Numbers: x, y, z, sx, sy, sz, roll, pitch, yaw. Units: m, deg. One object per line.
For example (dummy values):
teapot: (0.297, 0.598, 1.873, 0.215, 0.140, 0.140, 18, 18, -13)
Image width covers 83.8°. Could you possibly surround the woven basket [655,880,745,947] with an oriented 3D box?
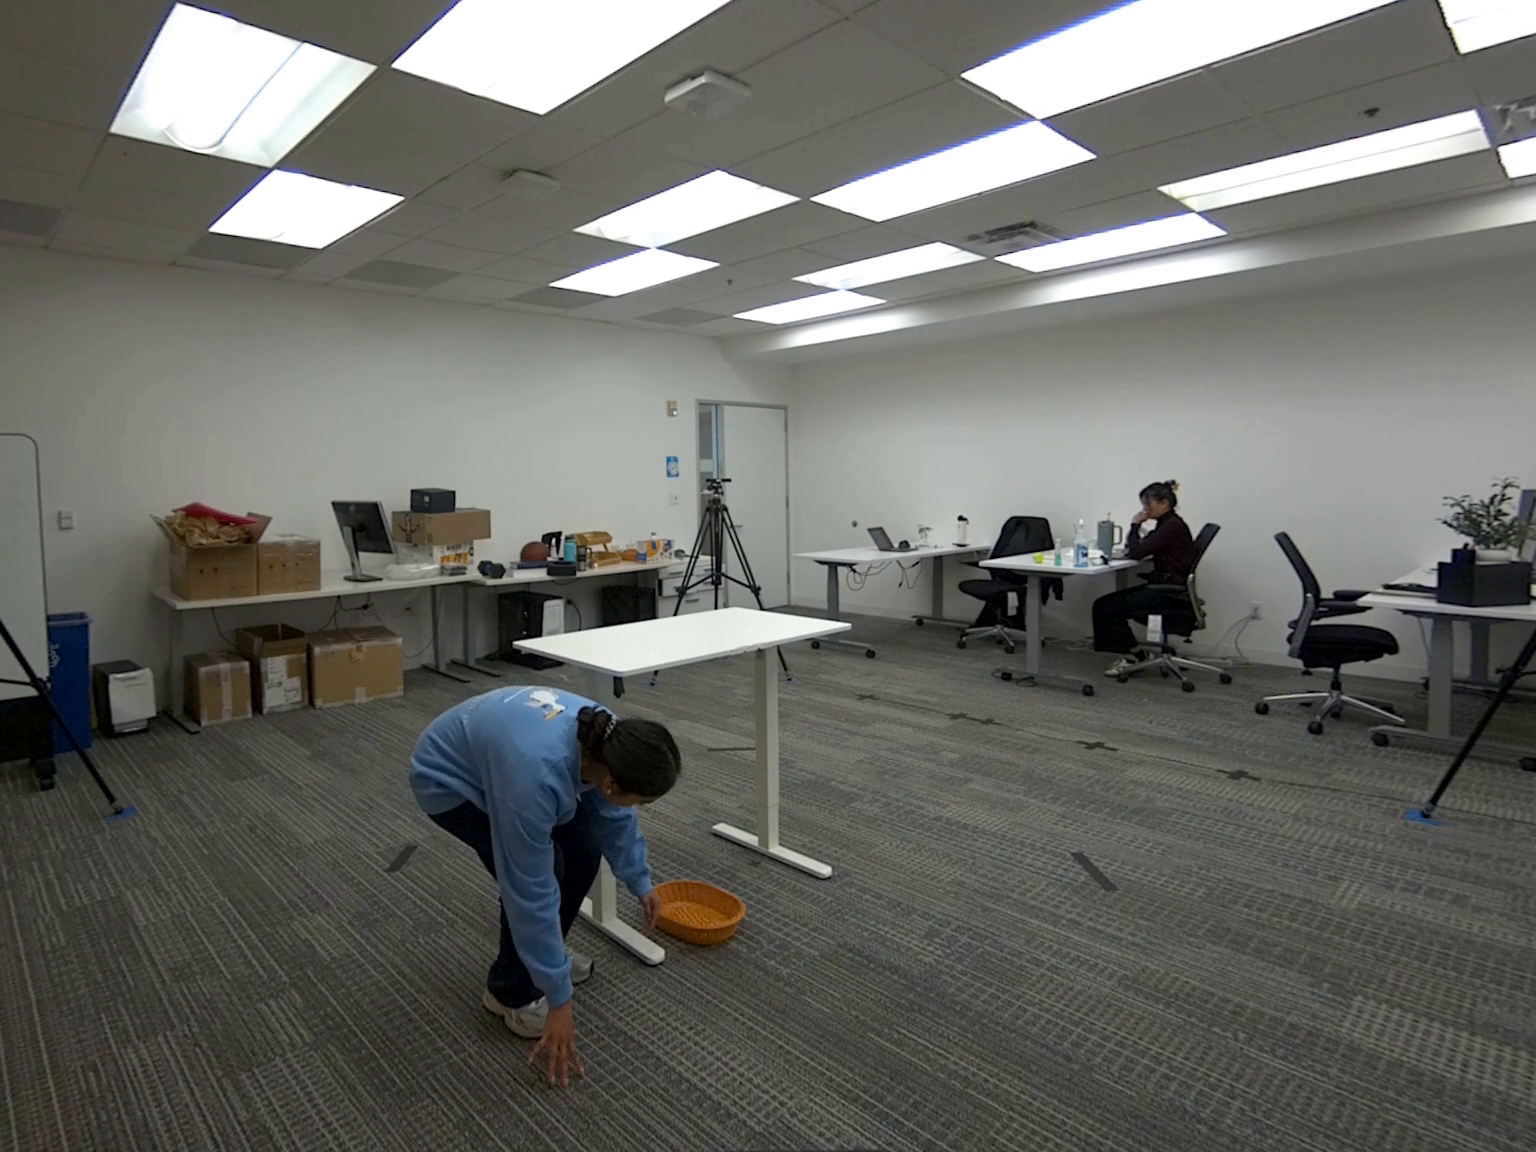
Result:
woven basket: (-0.229, 1.056, 2.683, 0.361, 0.073, 0.246, 5, 7, 41)
